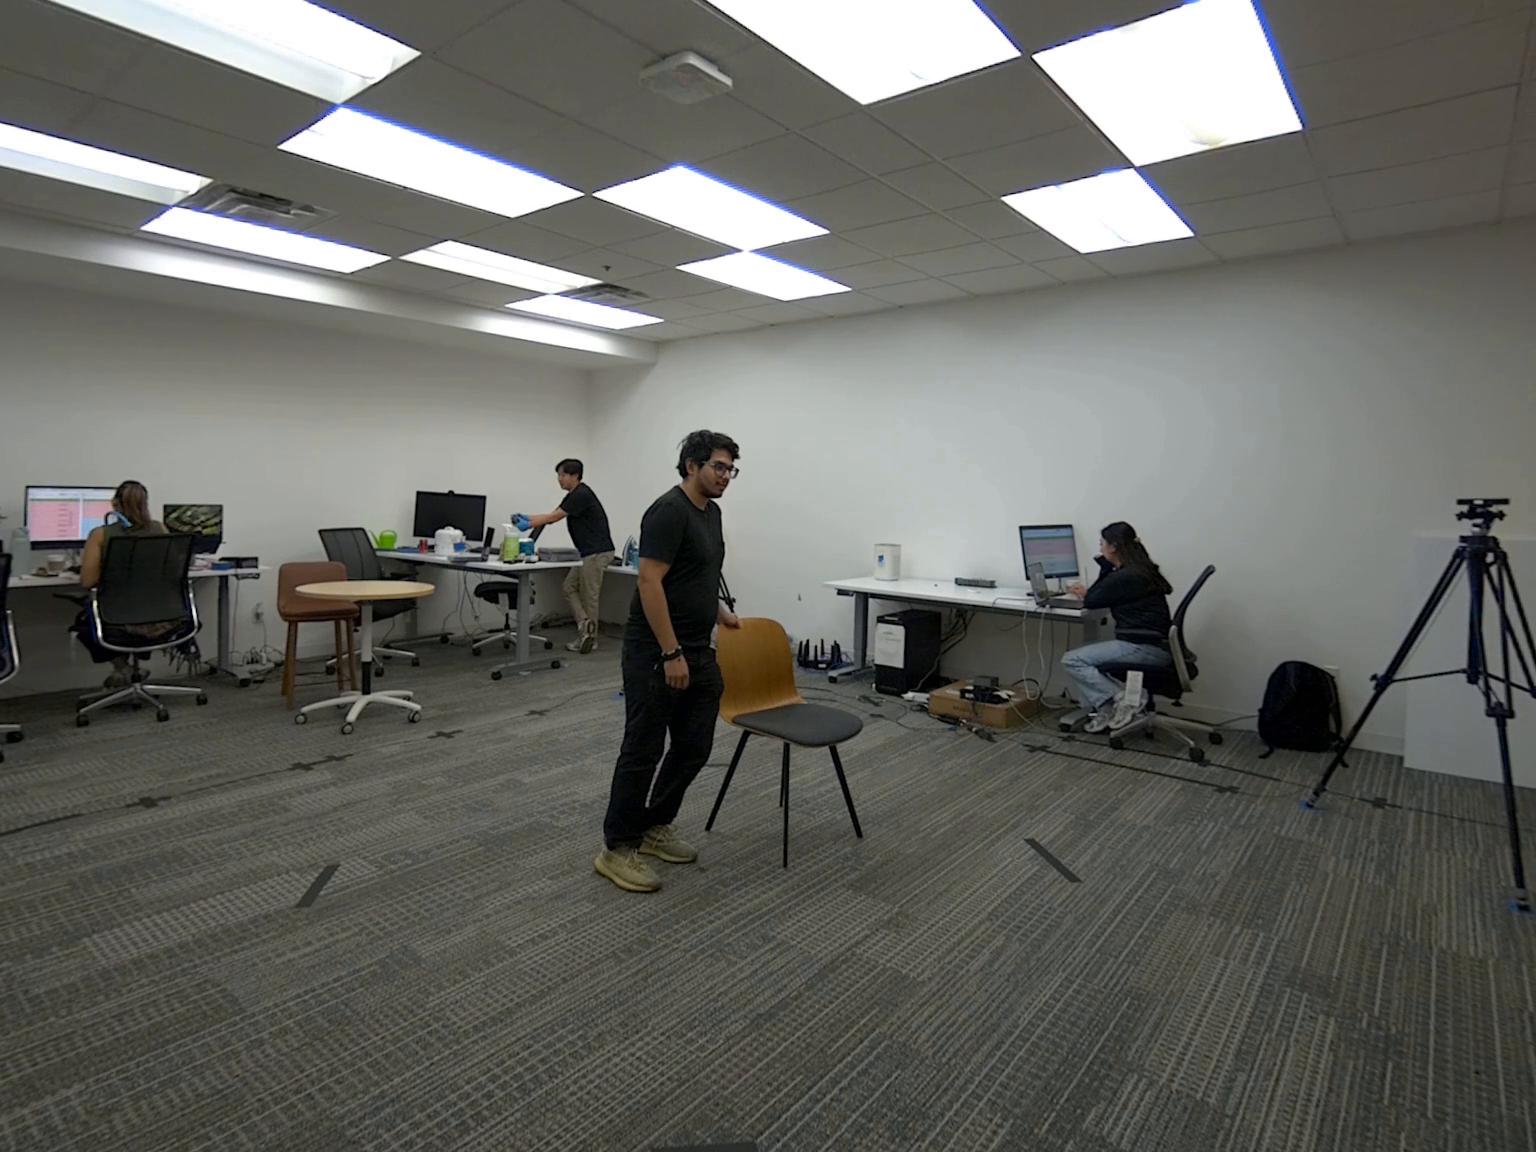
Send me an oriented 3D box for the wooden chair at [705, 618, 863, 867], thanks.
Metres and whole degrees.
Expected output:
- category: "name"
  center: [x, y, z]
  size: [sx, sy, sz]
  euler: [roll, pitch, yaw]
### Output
- category: "wooden chair"
  center: [0.074, 0.619, 3.417]
  size: [0.463, 0.877, 0.539]
  euler: [-2, 1, -44]
